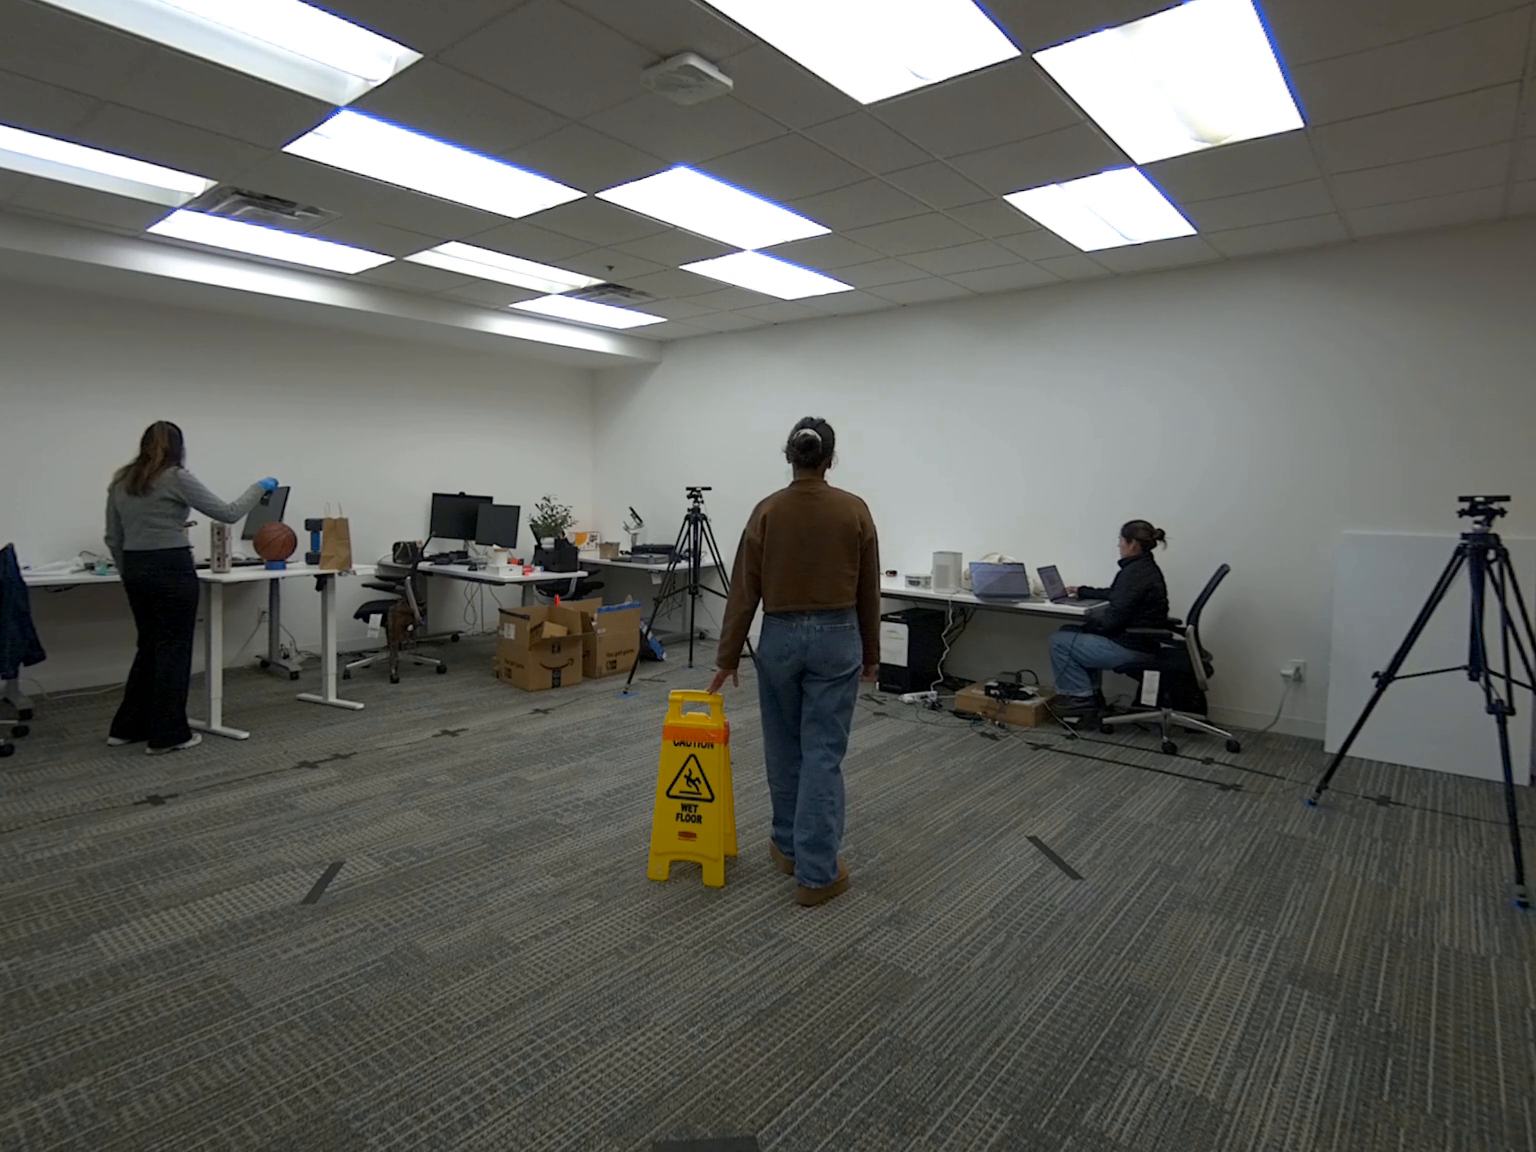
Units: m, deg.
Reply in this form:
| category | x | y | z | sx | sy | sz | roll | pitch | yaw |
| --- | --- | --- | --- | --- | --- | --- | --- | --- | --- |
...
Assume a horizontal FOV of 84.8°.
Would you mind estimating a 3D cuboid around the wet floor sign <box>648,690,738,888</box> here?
| category | x | y | z | sx | sy | sz | roll | pitch | yaw |
| --- | --- | --- | --- | --- | --- | --- | --- | --- | --- |
| wet floor sign | -0.278 | 0.741 | 3.107 | 0.286 | 0.644 | 0.287 | 1 | 4 | 10 |
